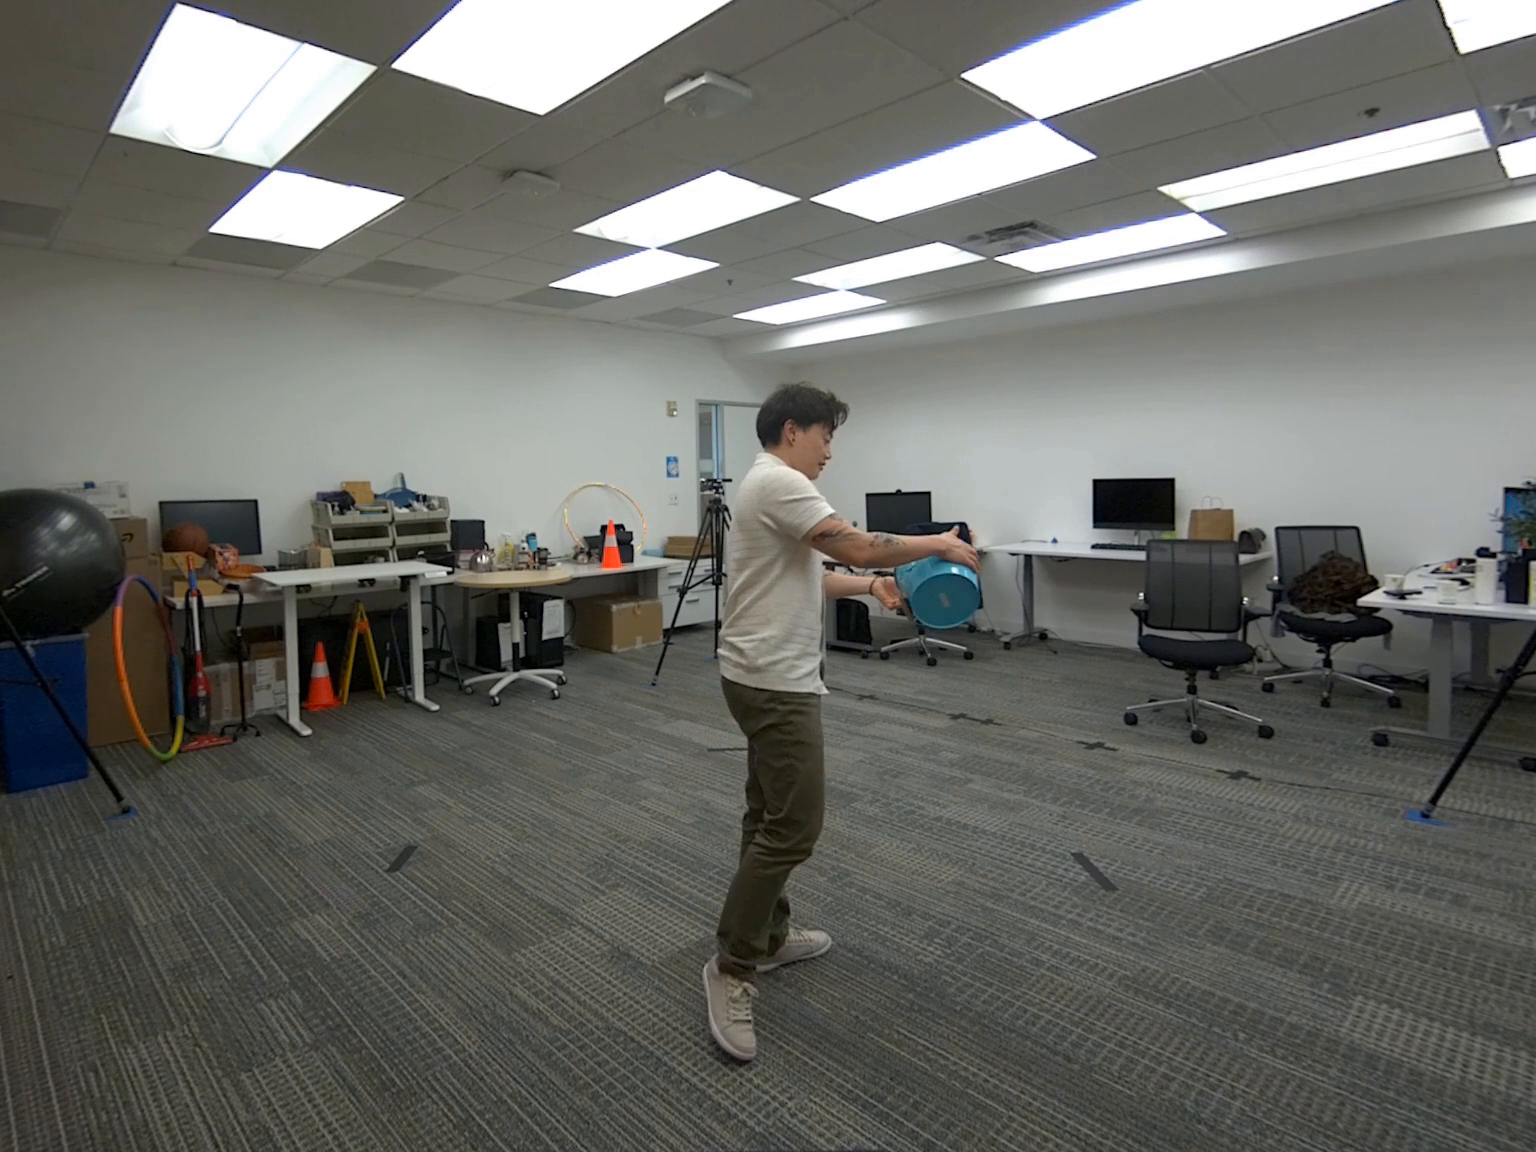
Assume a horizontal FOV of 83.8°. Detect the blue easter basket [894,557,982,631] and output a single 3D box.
[{"bbox_3d":[0.468,0.028,2.364,0.245,0.238,0.159,0,27,4],"label":"blue easter basket"}]
